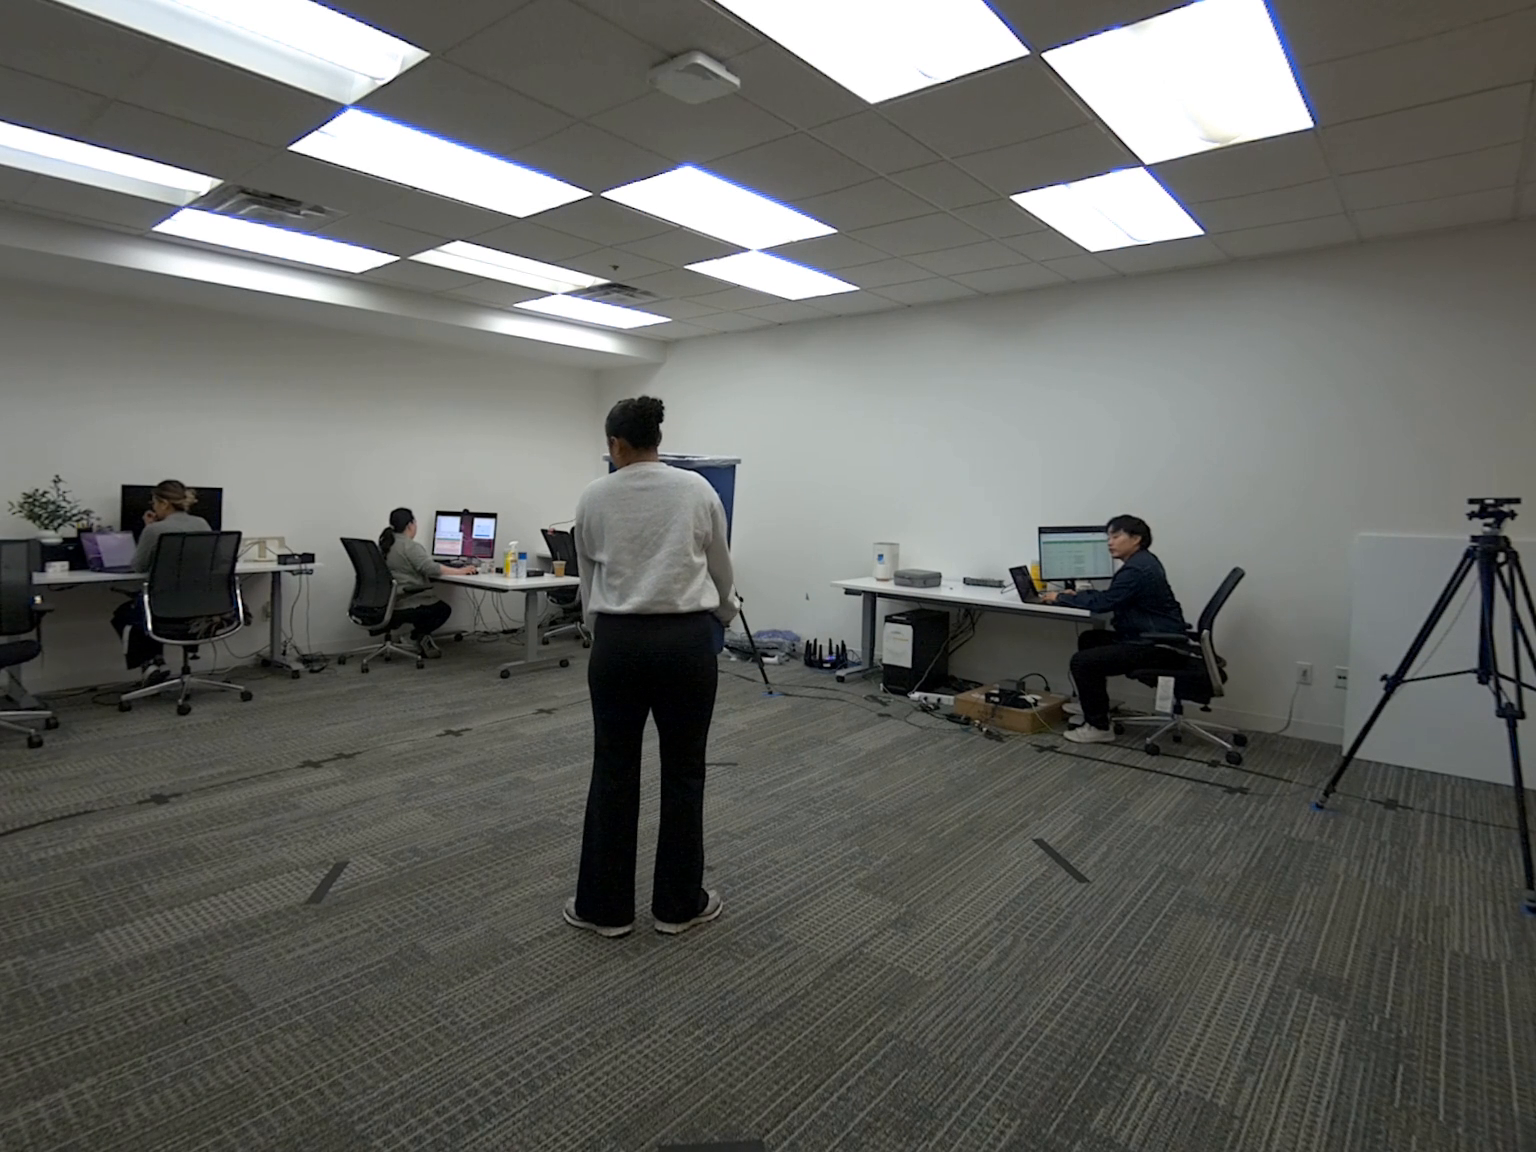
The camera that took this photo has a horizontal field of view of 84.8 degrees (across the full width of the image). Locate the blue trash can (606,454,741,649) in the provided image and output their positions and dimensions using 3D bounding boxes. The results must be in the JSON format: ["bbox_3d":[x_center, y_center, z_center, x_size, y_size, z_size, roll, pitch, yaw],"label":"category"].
[{"bbox_3d":[-0.345,-0.074,3.021,0.385,0.708,0.370,6,9,28],"label":"blue trash can"}]
